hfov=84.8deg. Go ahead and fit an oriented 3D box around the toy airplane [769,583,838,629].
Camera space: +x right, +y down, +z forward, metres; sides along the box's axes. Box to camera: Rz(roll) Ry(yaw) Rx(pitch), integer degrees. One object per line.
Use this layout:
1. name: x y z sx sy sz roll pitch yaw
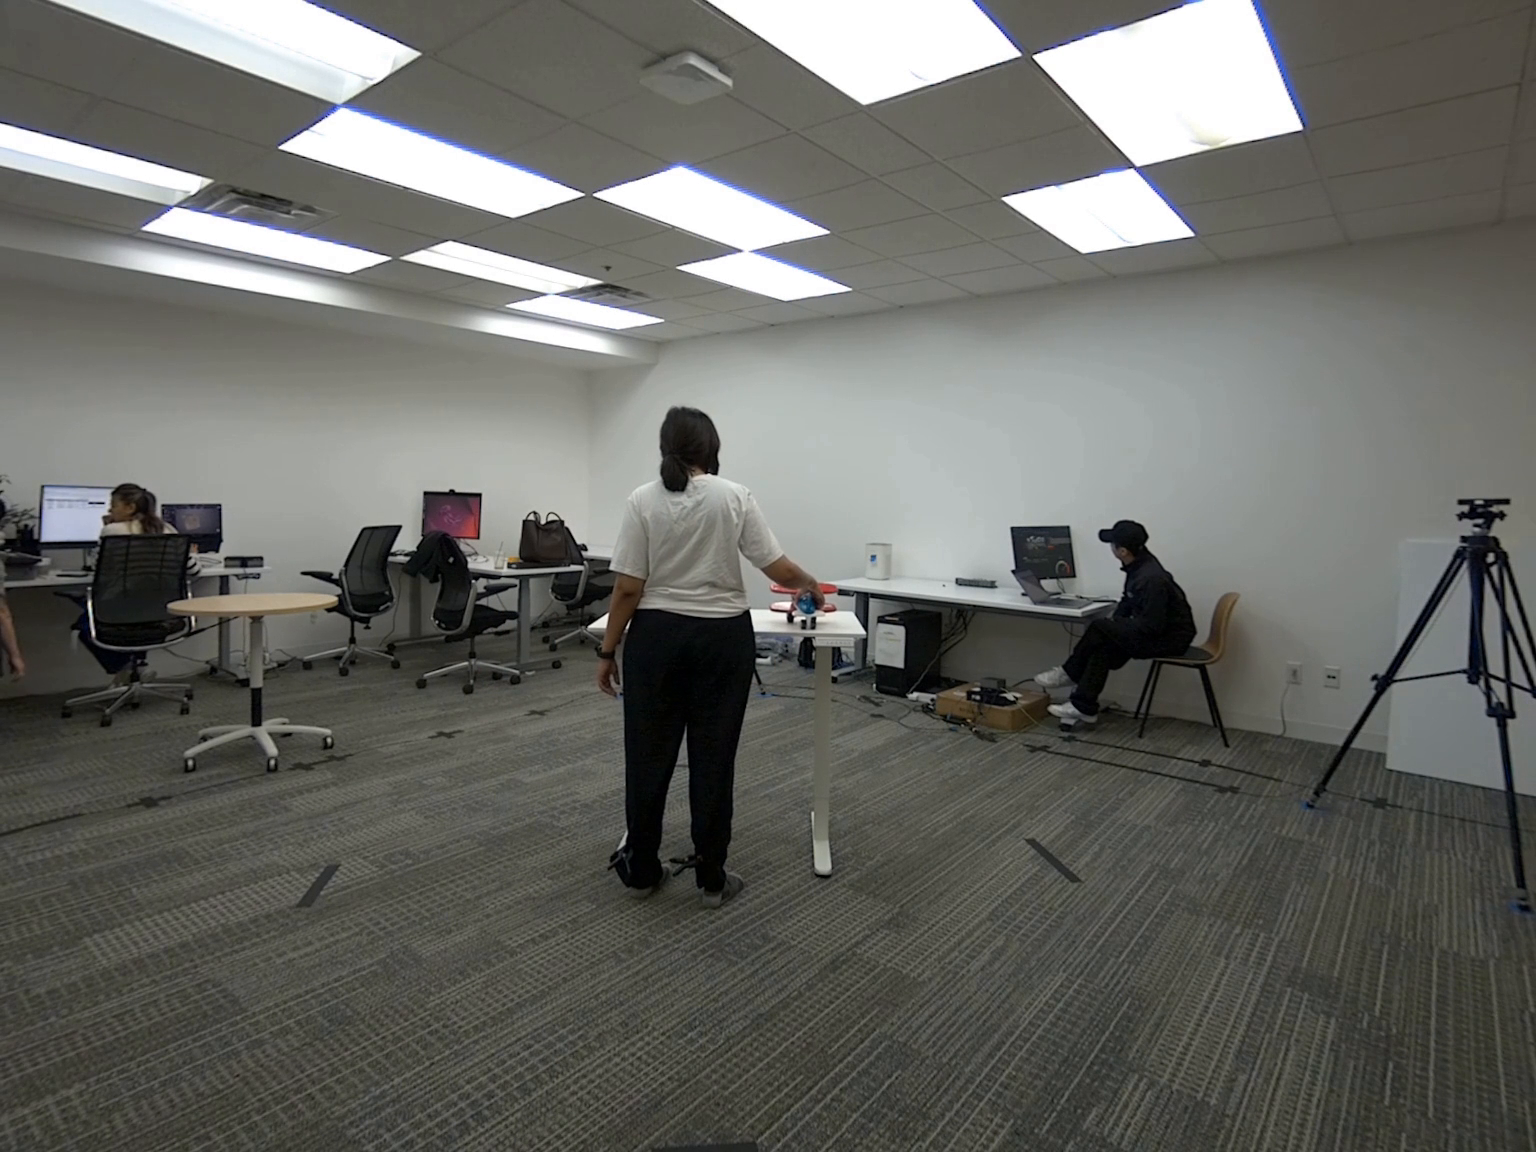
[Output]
1. toy airplane: 0.149 0.103 3.206 0.244 0.156 0.267 -1 2 -31
